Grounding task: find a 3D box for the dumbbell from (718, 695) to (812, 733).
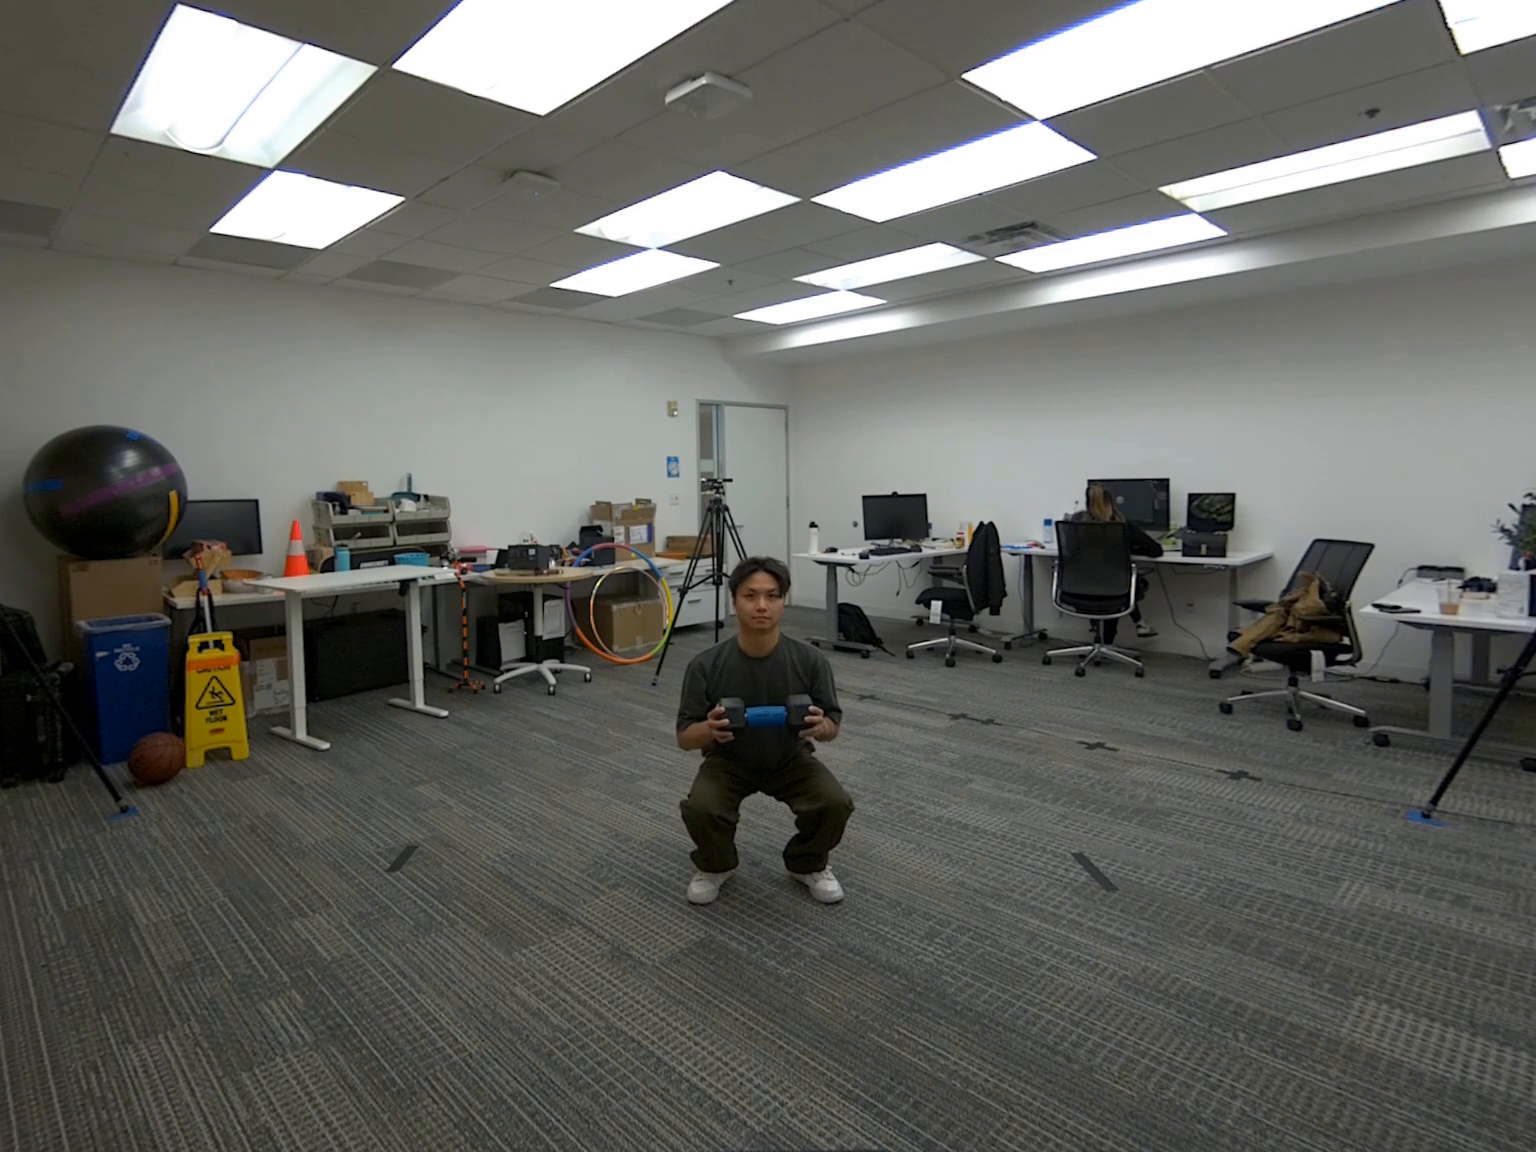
[{"bbox_3d":[-0.013,0.436,2.672,0.293,0.119,0.112,-3,47,-2],"label":"dumbbell"}]
